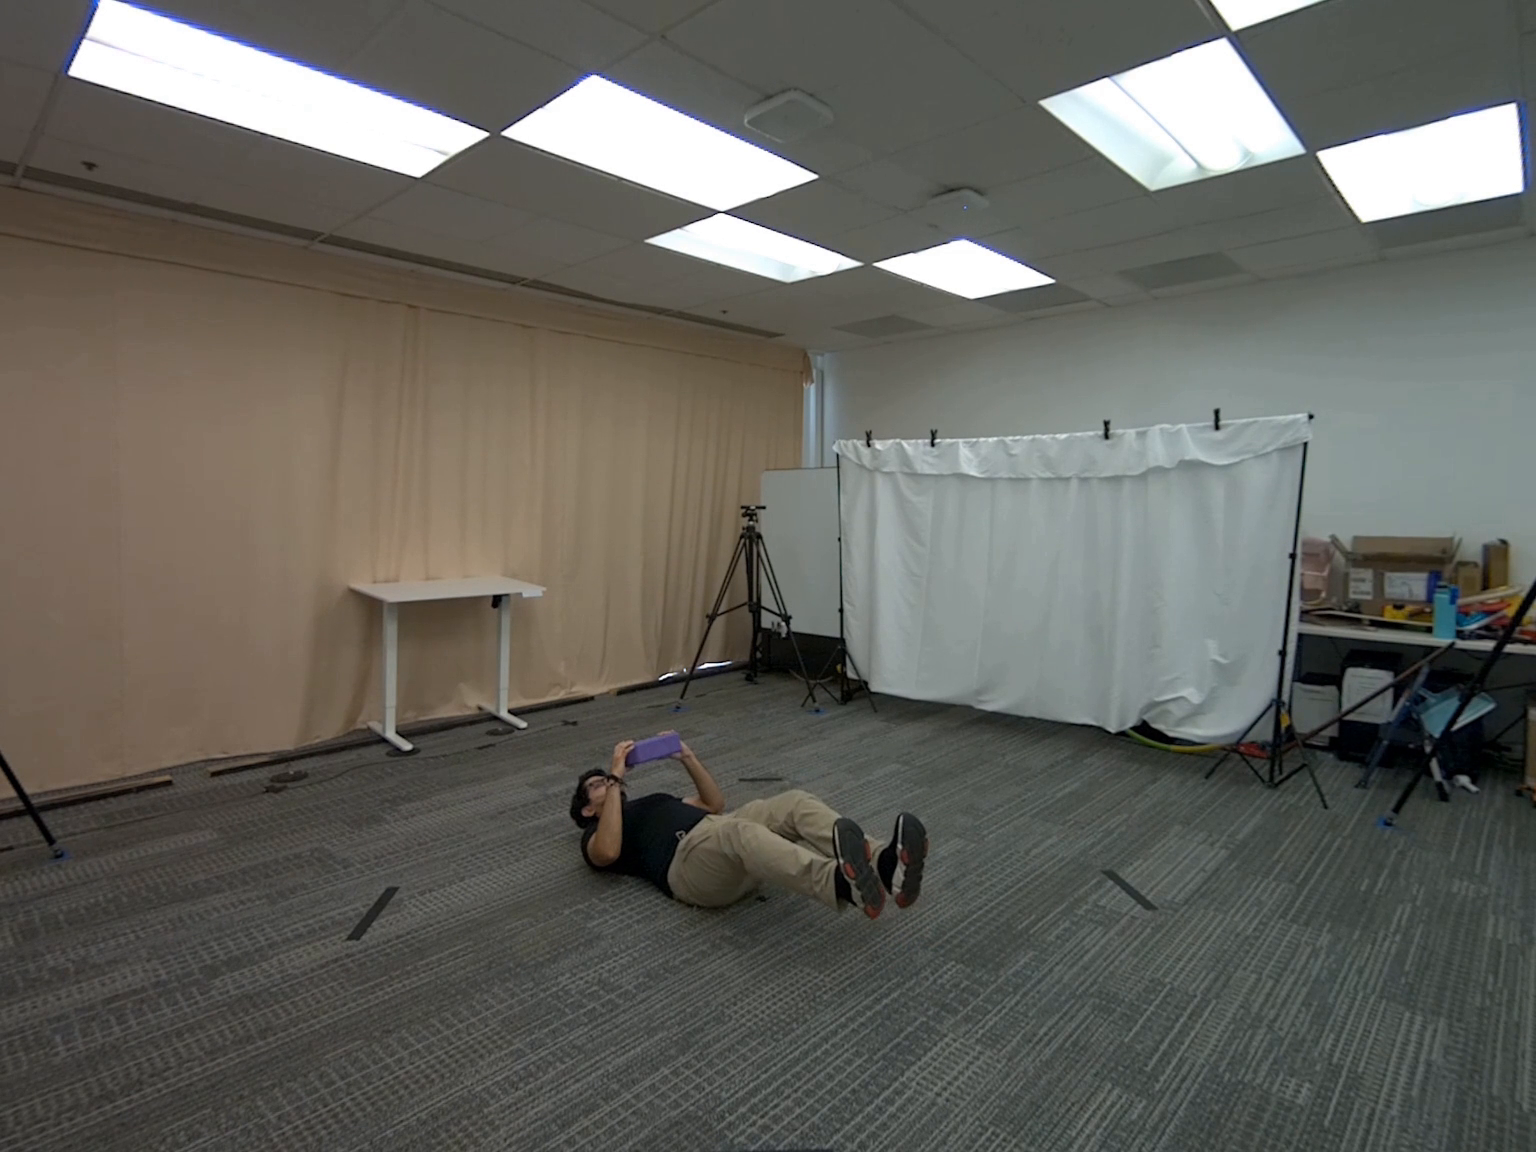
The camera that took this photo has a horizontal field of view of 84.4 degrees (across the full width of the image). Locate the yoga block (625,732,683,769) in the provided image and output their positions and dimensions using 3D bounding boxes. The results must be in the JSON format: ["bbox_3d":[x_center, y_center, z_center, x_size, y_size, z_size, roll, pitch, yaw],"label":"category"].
[{"bbox_3d":[-0.469,0.676,3.264,0.153,0.077,0.222,-16,-8,41],"label":"yoga block"}]
